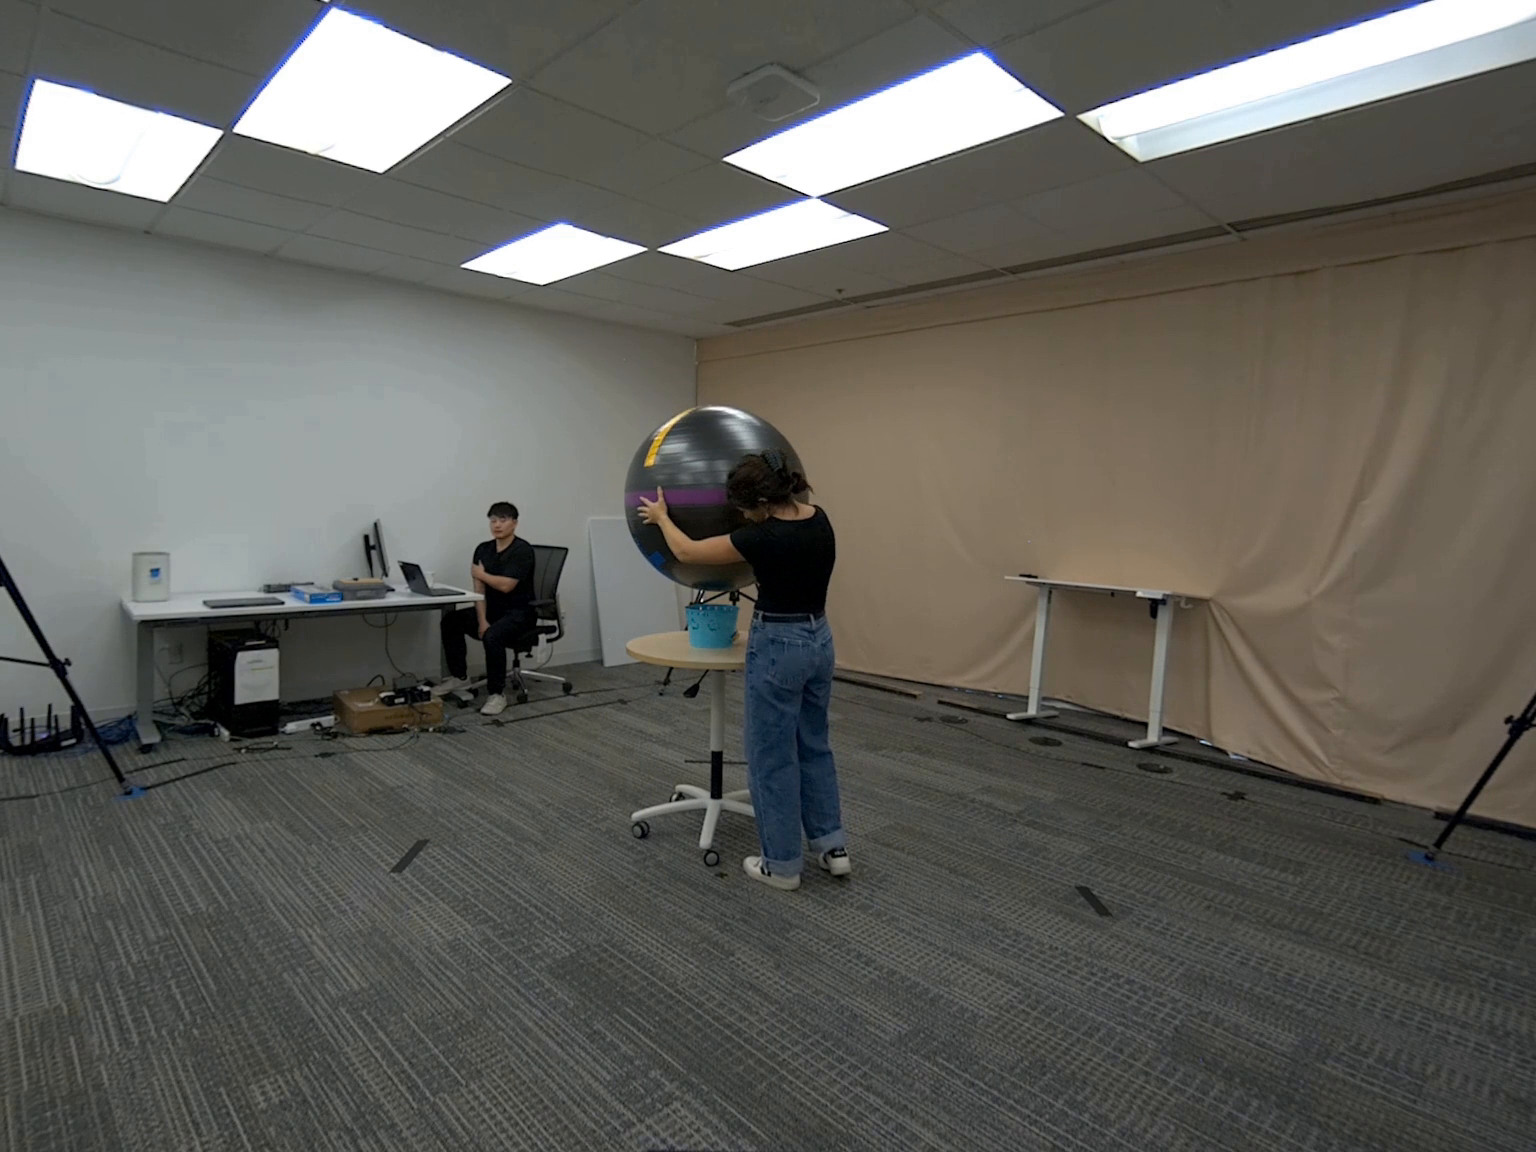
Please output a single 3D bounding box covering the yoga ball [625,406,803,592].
[{"bbox_3d":[-0.222,-0.317,3.475,0.757,0.756,0.761,1,4,-1],"label":"yoga ball"}]
